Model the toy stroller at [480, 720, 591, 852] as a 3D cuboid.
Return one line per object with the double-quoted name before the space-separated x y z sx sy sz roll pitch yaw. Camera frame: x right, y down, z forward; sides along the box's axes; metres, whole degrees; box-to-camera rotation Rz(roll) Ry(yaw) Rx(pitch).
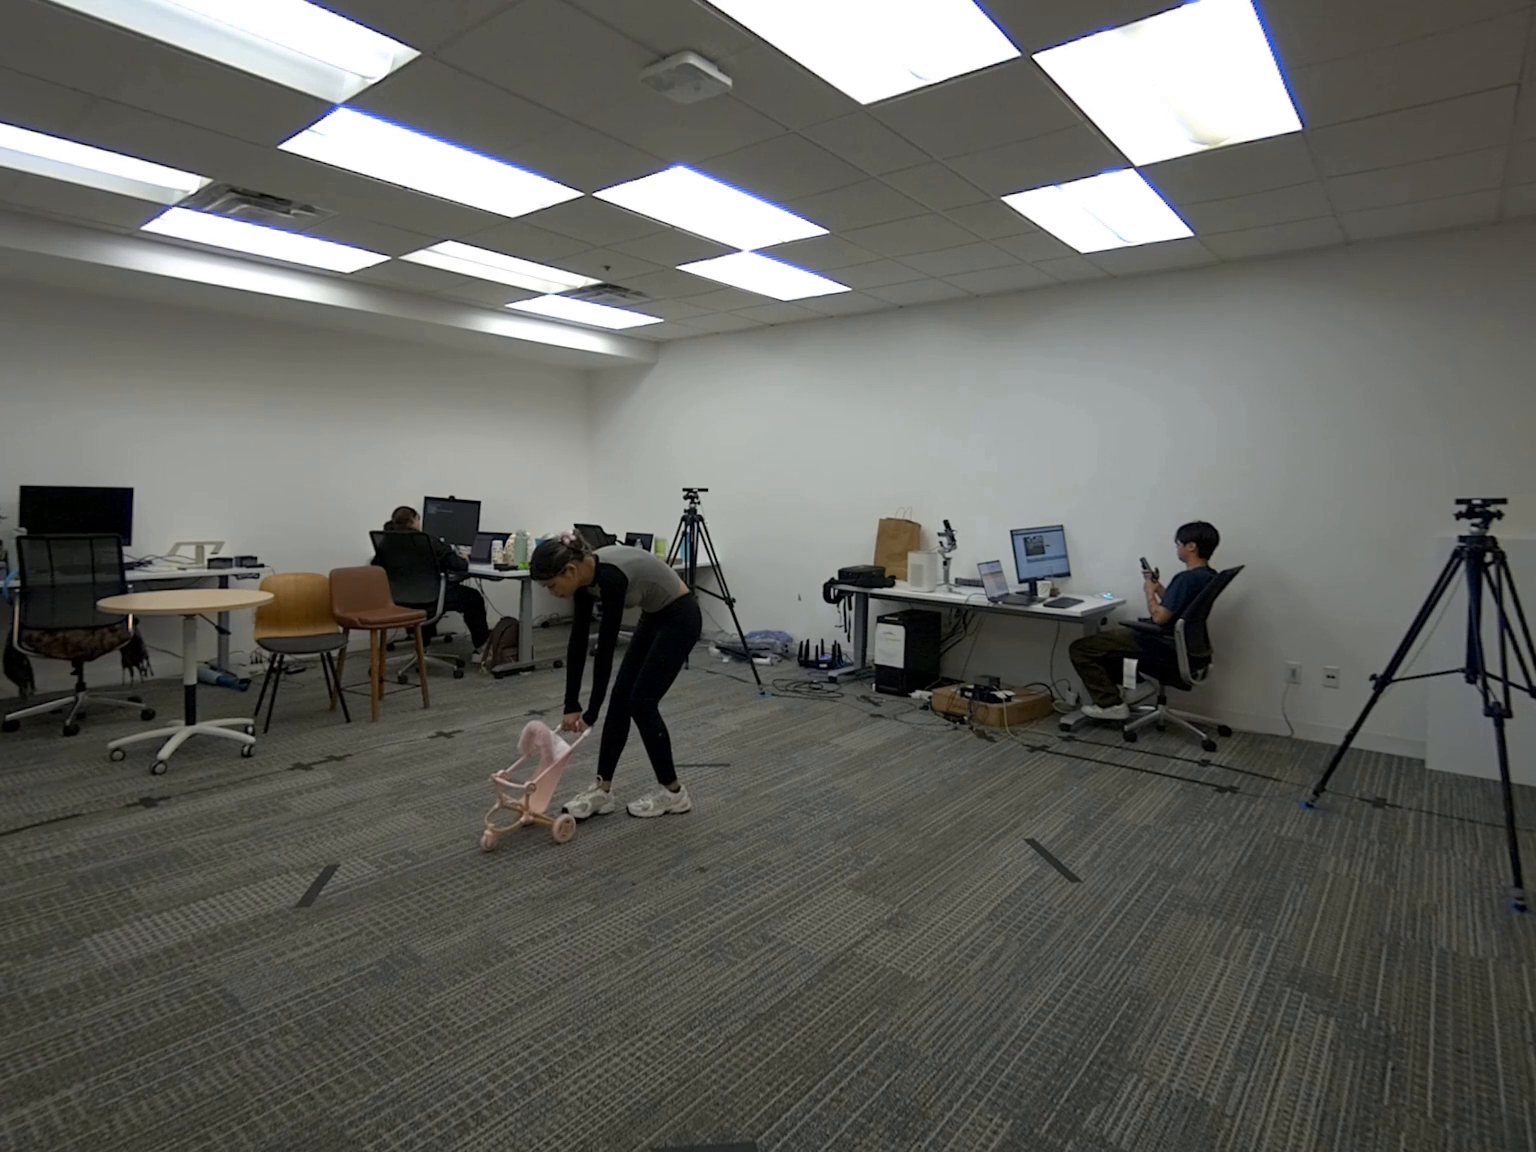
"toy stroller" -0.941 0.808 3.362 0.291 0.538 0.328 3 -13 46
